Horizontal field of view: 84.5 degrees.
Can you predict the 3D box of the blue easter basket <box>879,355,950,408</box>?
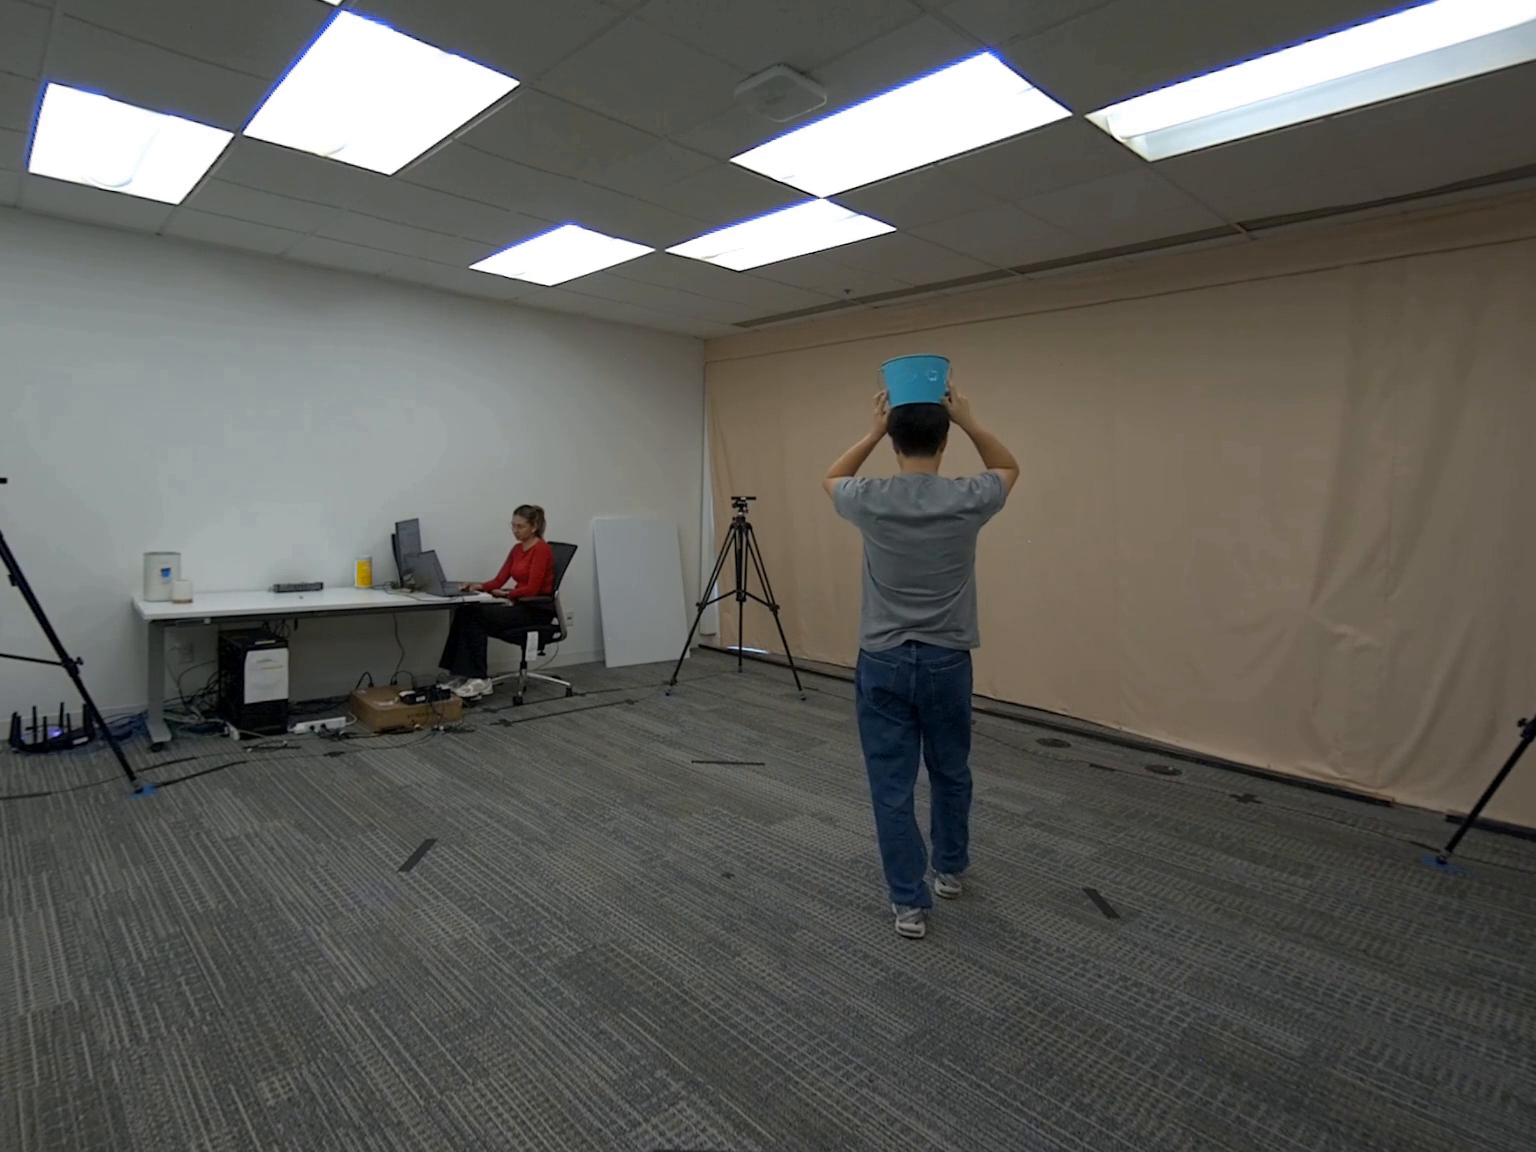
[{"bbox_3d":[0.508,-0.635,2.841,0.243,0.156,0.243,0,-4,-1],"label":"blue easter basket"}]
